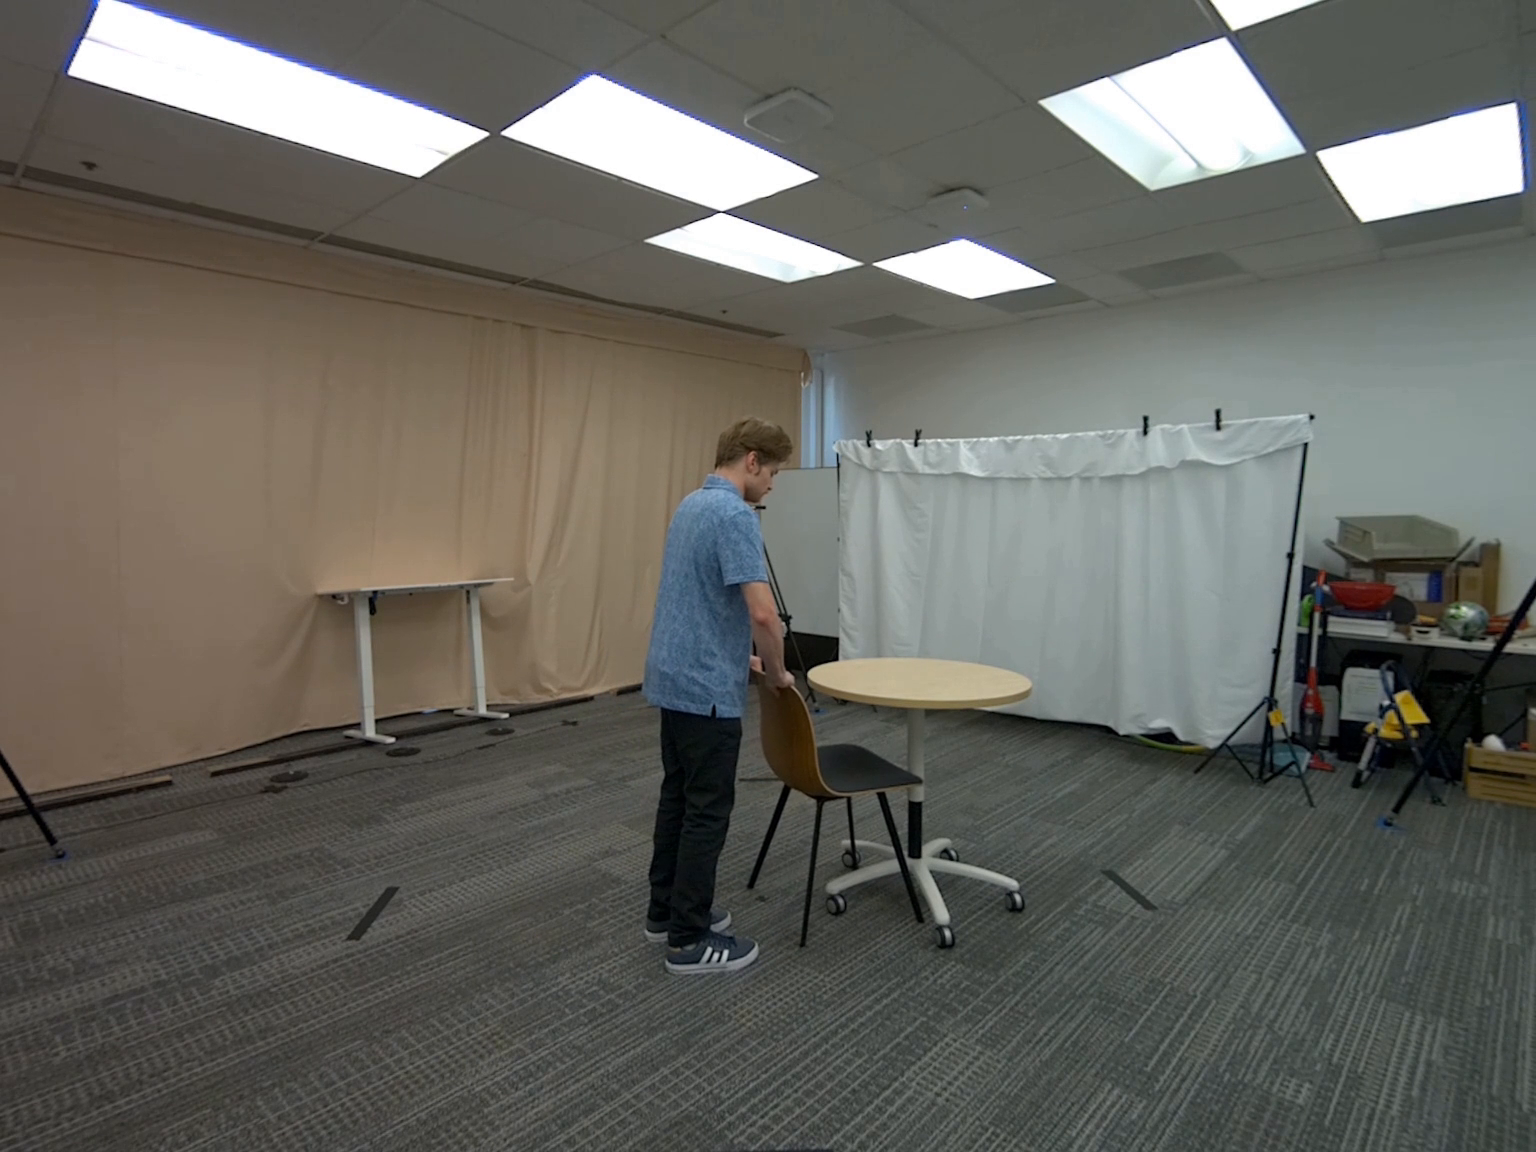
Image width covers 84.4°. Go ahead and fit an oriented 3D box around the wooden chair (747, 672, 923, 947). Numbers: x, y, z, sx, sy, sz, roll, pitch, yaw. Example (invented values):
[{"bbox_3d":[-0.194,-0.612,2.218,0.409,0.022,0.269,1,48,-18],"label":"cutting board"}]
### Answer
[{"bbox_3d":[0.232,0.721,2.904,0.512,0.875,0.489,-5,5,-22],"label":"wooden chair"}]
